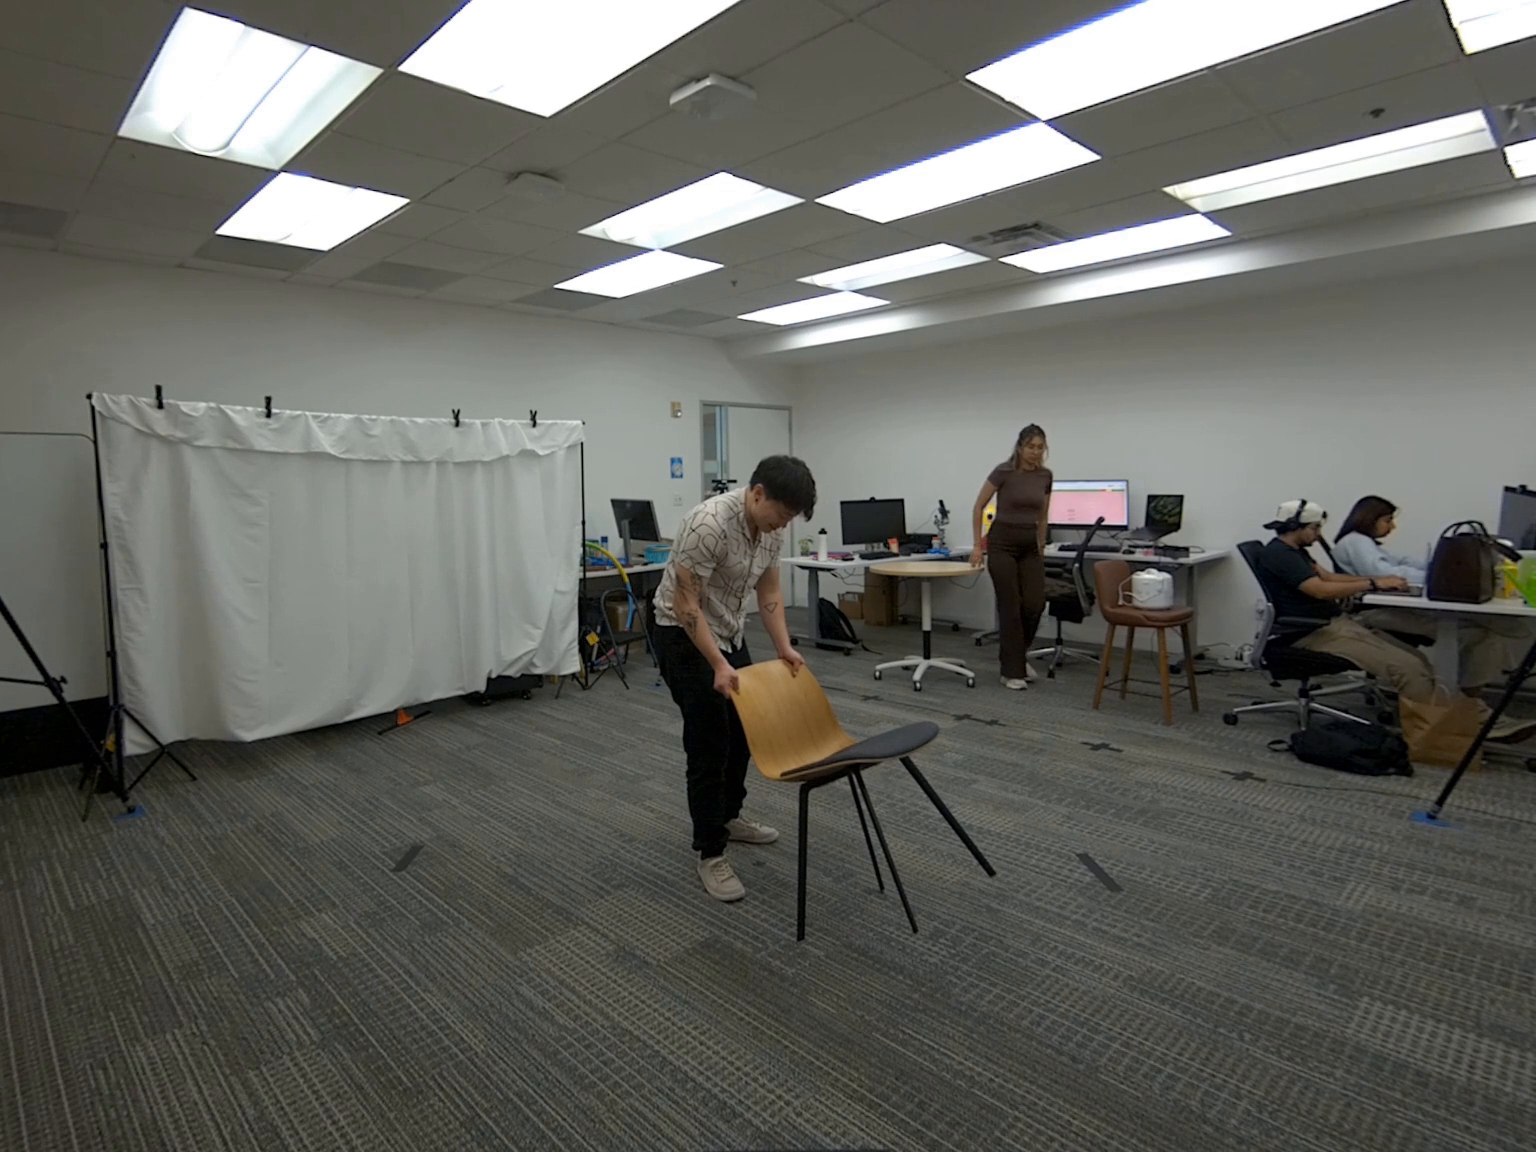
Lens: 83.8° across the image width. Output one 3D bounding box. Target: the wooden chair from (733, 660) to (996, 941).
[{"bbox_3d":[0.263,0.602,2.680,0.465,0.894,0.527,-5,-22,-46],"label":"wooden chair"}]
